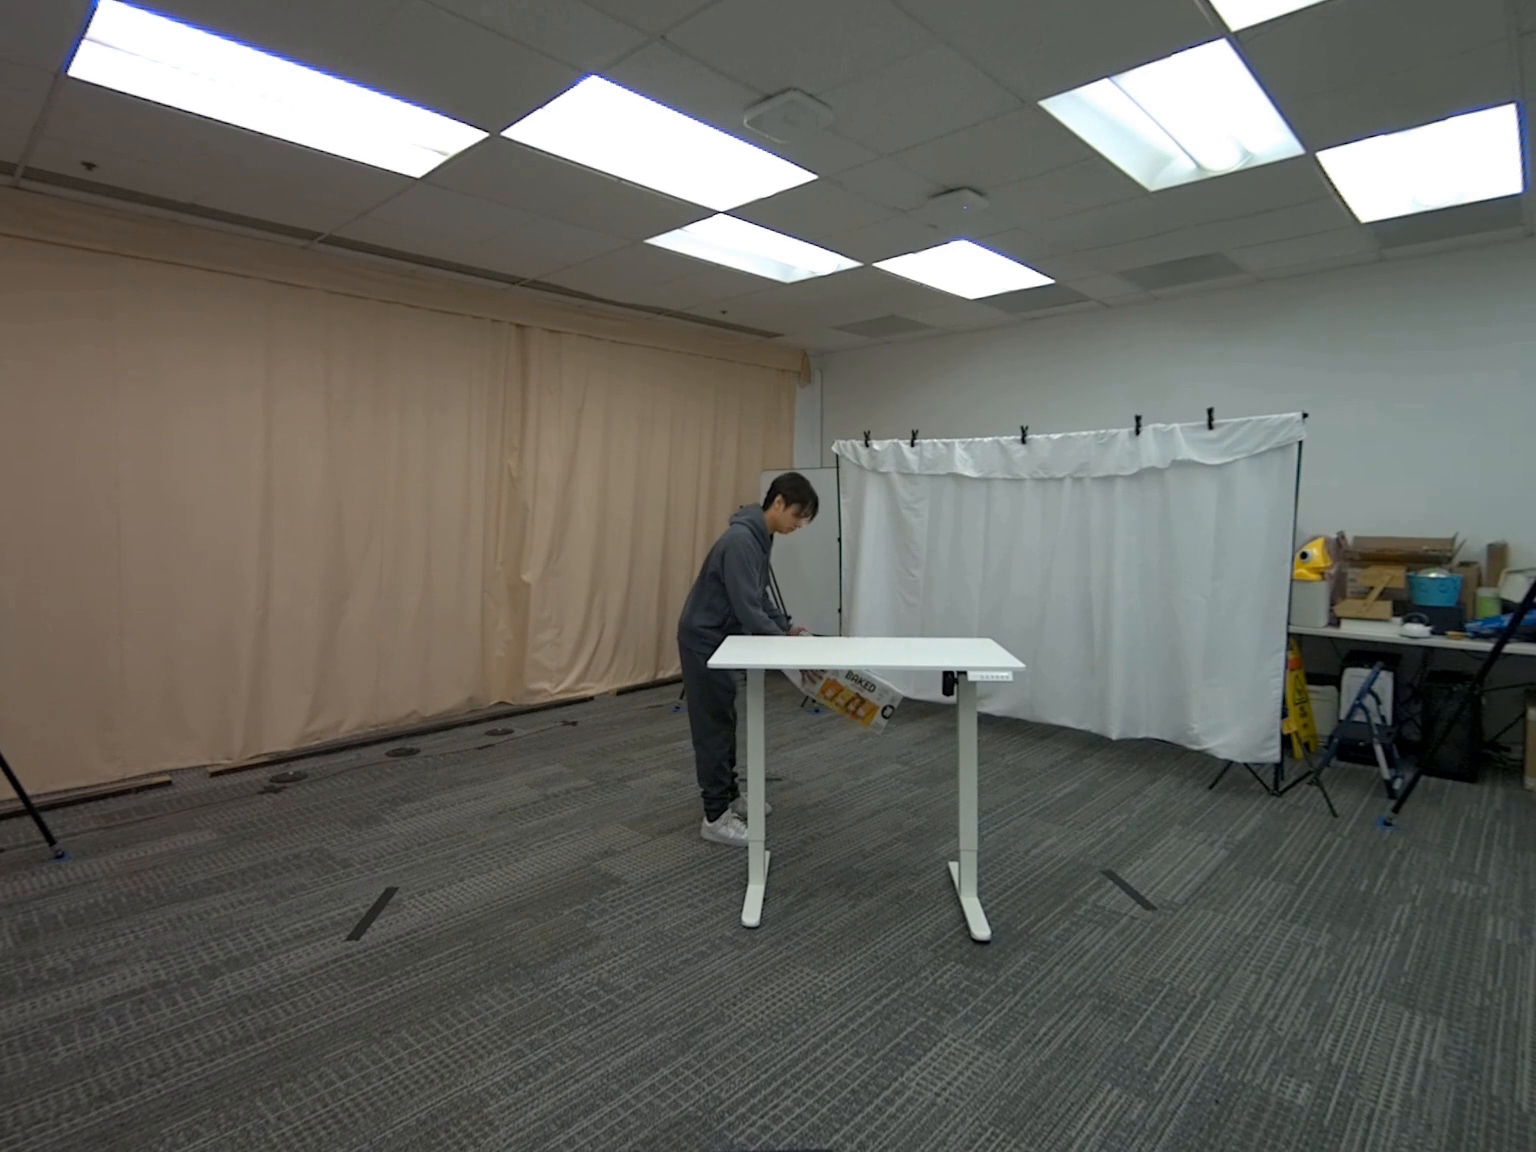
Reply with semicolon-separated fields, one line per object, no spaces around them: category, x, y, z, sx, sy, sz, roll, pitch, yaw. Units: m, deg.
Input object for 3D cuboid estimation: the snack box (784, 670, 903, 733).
snack box;0.312;0.451;3.621;0.397;0.205;0.347;30;1;-17
